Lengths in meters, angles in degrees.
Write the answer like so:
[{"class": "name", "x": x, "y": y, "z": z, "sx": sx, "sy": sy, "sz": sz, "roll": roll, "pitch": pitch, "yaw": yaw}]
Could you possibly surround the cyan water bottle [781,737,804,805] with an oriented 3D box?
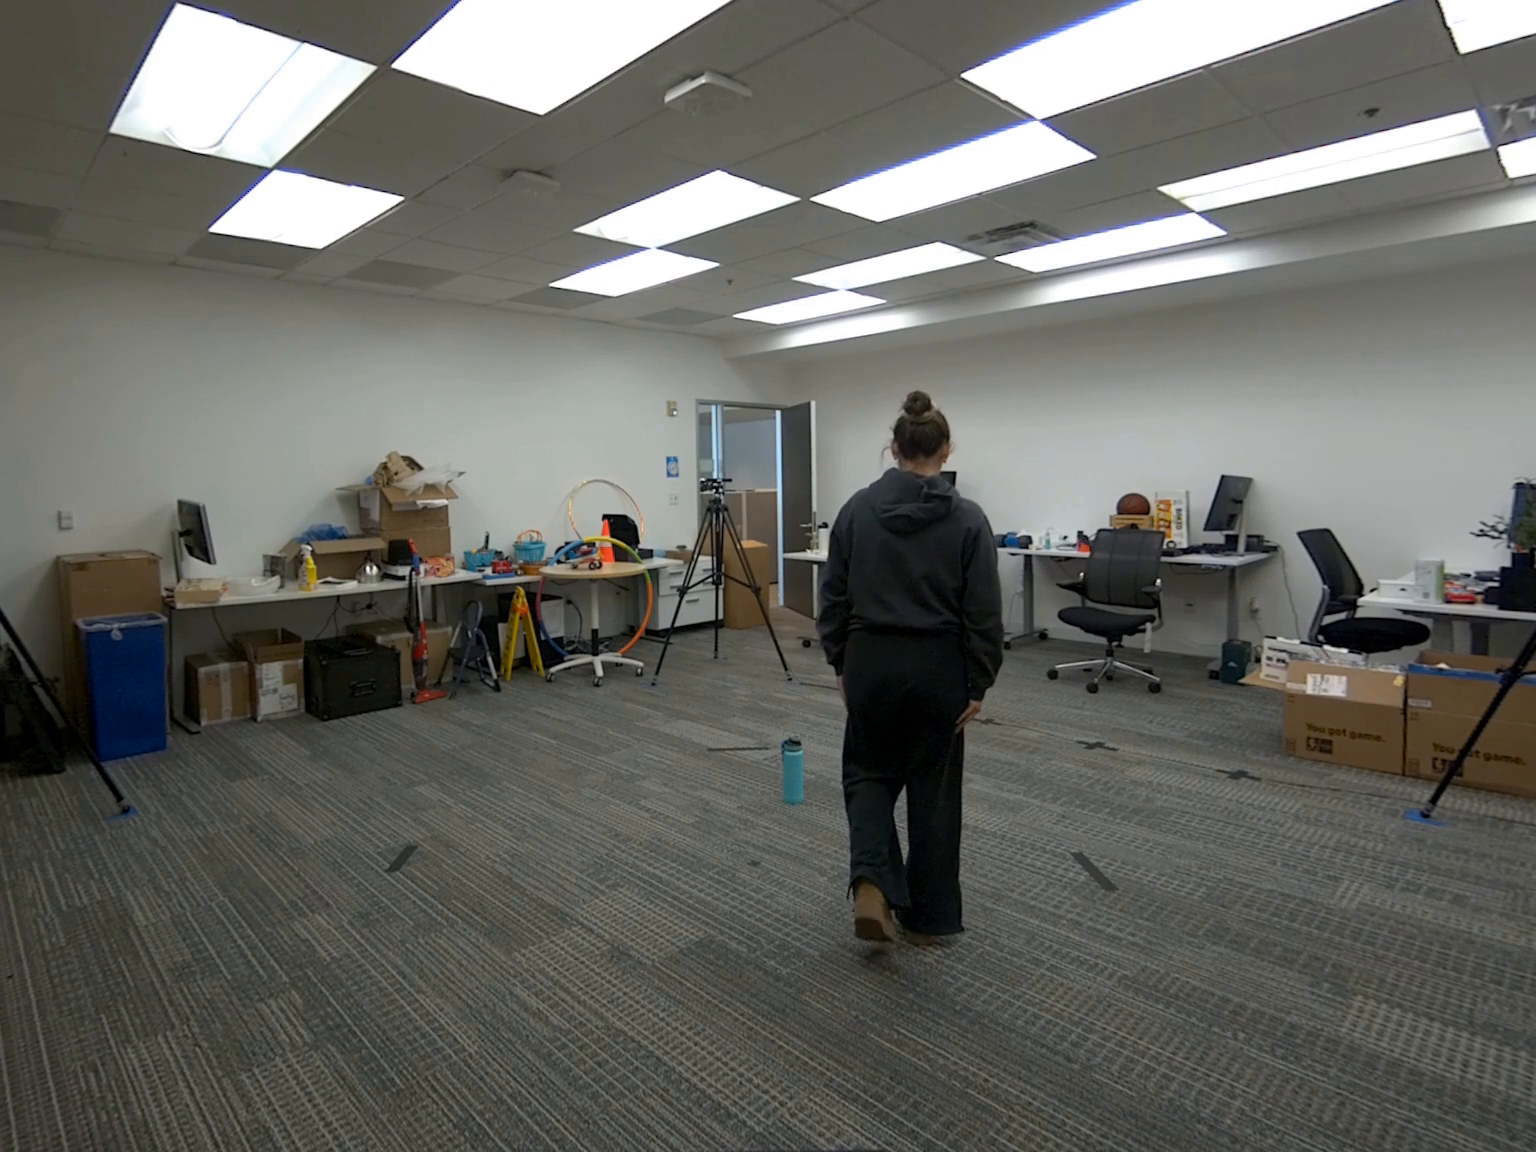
[{"class": "cyan water bottle", "x": 0.111, "y": 0.838, "z": 3.685, "sx": 0.092, "sy": 0.282, "sz": 0.093, "roll": -3, "pitch": 4, "yaw": -1}]
